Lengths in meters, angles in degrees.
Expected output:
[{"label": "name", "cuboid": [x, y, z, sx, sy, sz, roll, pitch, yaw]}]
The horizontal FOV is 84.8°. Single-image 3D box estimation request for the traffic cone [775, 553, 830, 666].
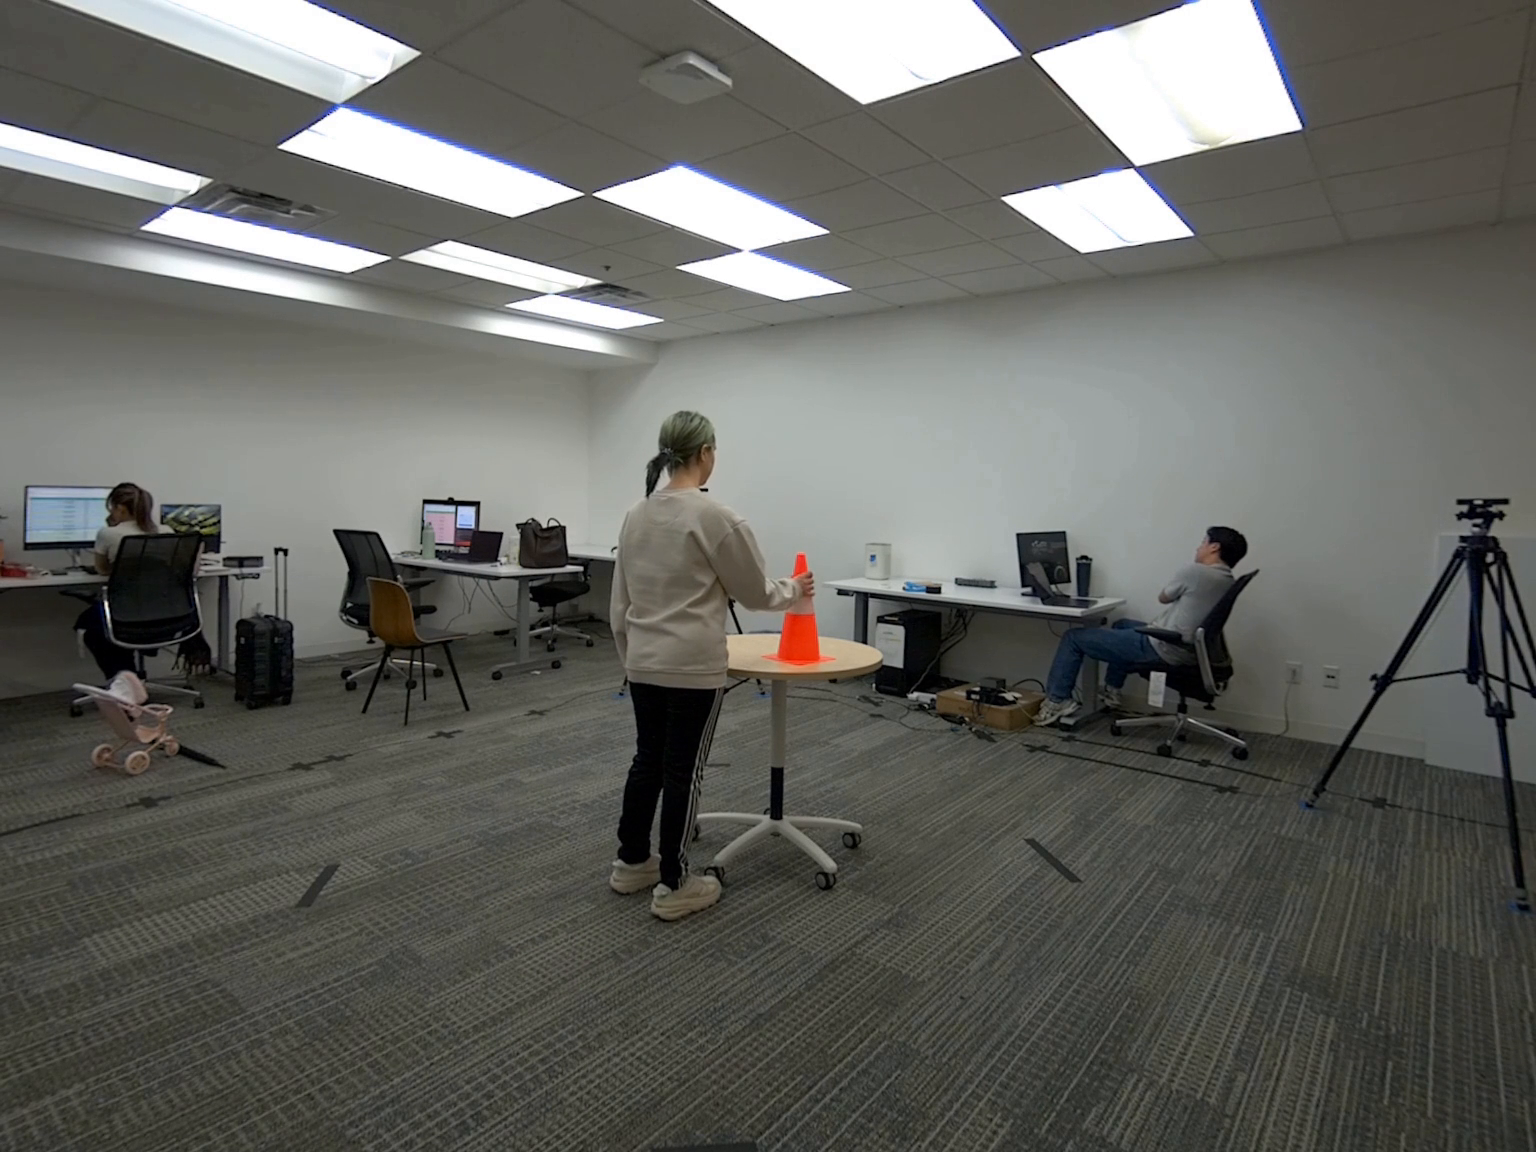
[{"label": "traffic cone", "cuboid": [0.108, 0.107, 3.074, 0.197, 0.382, 0.212, -1, 6, -44]}]
